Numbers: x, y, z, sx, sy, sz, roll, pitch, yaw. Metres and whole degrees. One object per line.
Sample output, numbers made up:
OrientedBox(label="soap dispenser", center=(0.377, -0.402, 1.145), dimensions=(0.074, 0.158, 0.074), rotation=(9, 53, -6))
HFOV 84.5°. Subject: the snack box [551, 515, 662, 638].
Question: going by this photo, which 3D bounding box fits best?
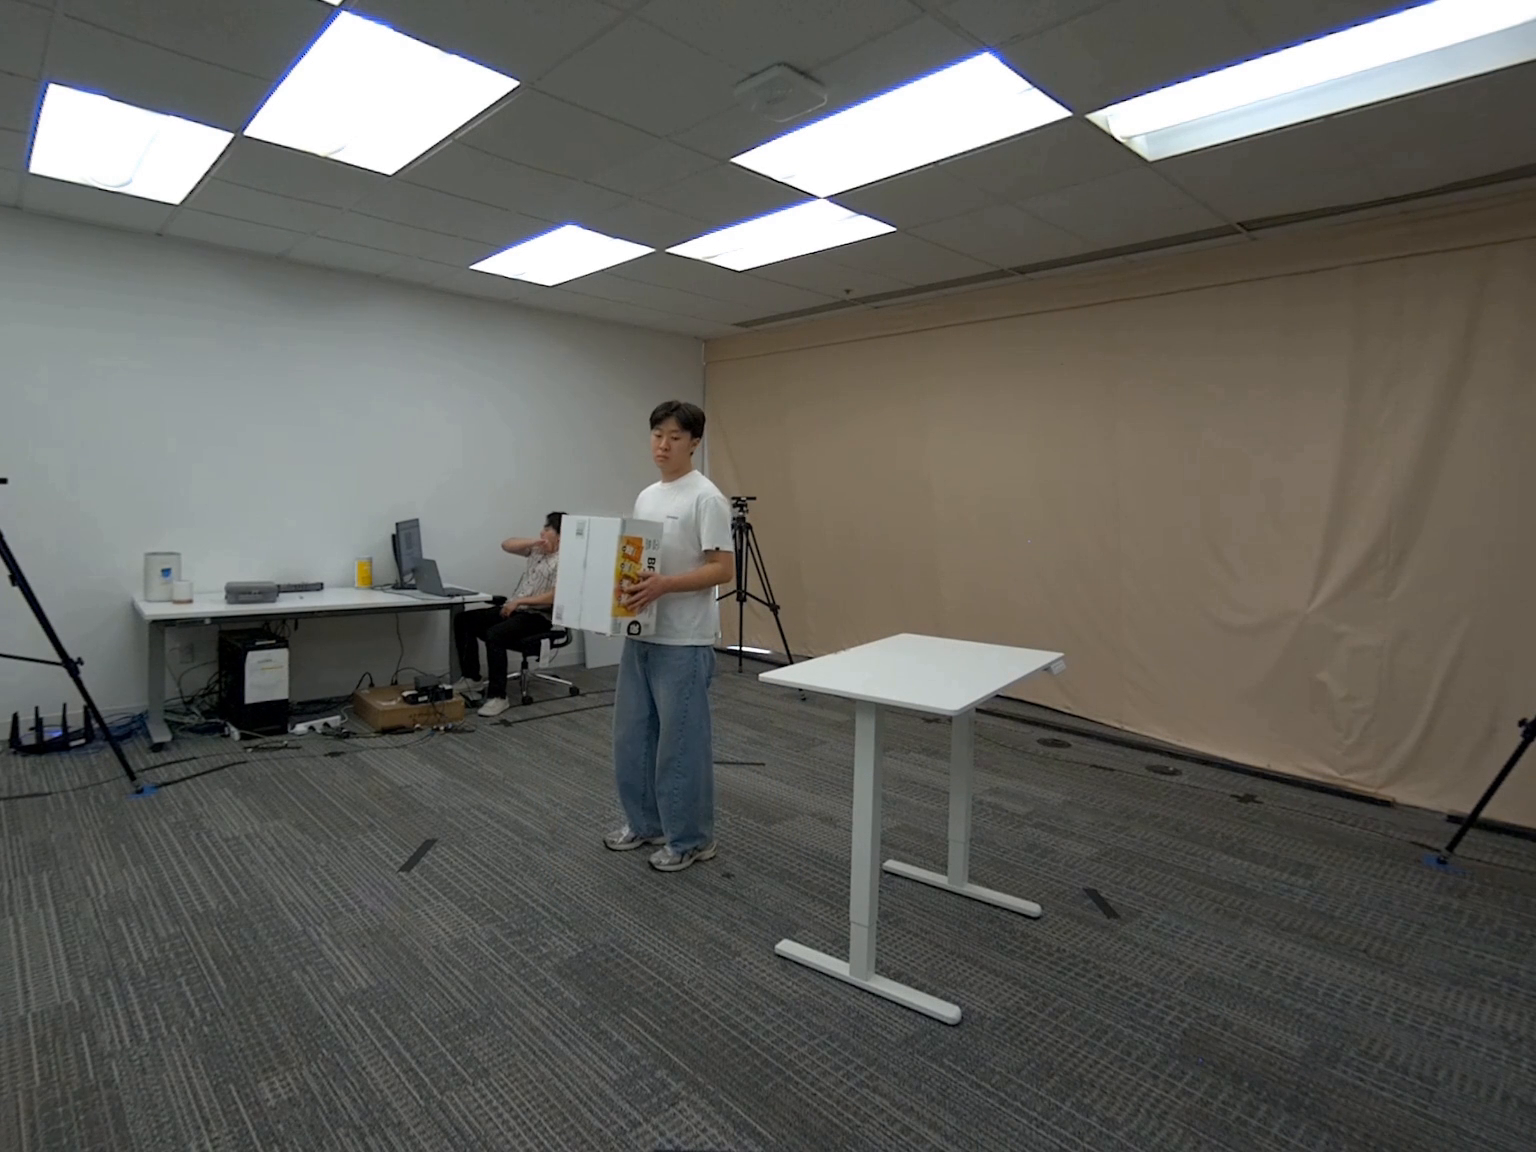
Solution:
OrientedBox(label="snack box", center=(-0.588, -0.003, 3.027), dimensions=(0.349, 0.405, 0.200), rotation=(5, -1, 41))
